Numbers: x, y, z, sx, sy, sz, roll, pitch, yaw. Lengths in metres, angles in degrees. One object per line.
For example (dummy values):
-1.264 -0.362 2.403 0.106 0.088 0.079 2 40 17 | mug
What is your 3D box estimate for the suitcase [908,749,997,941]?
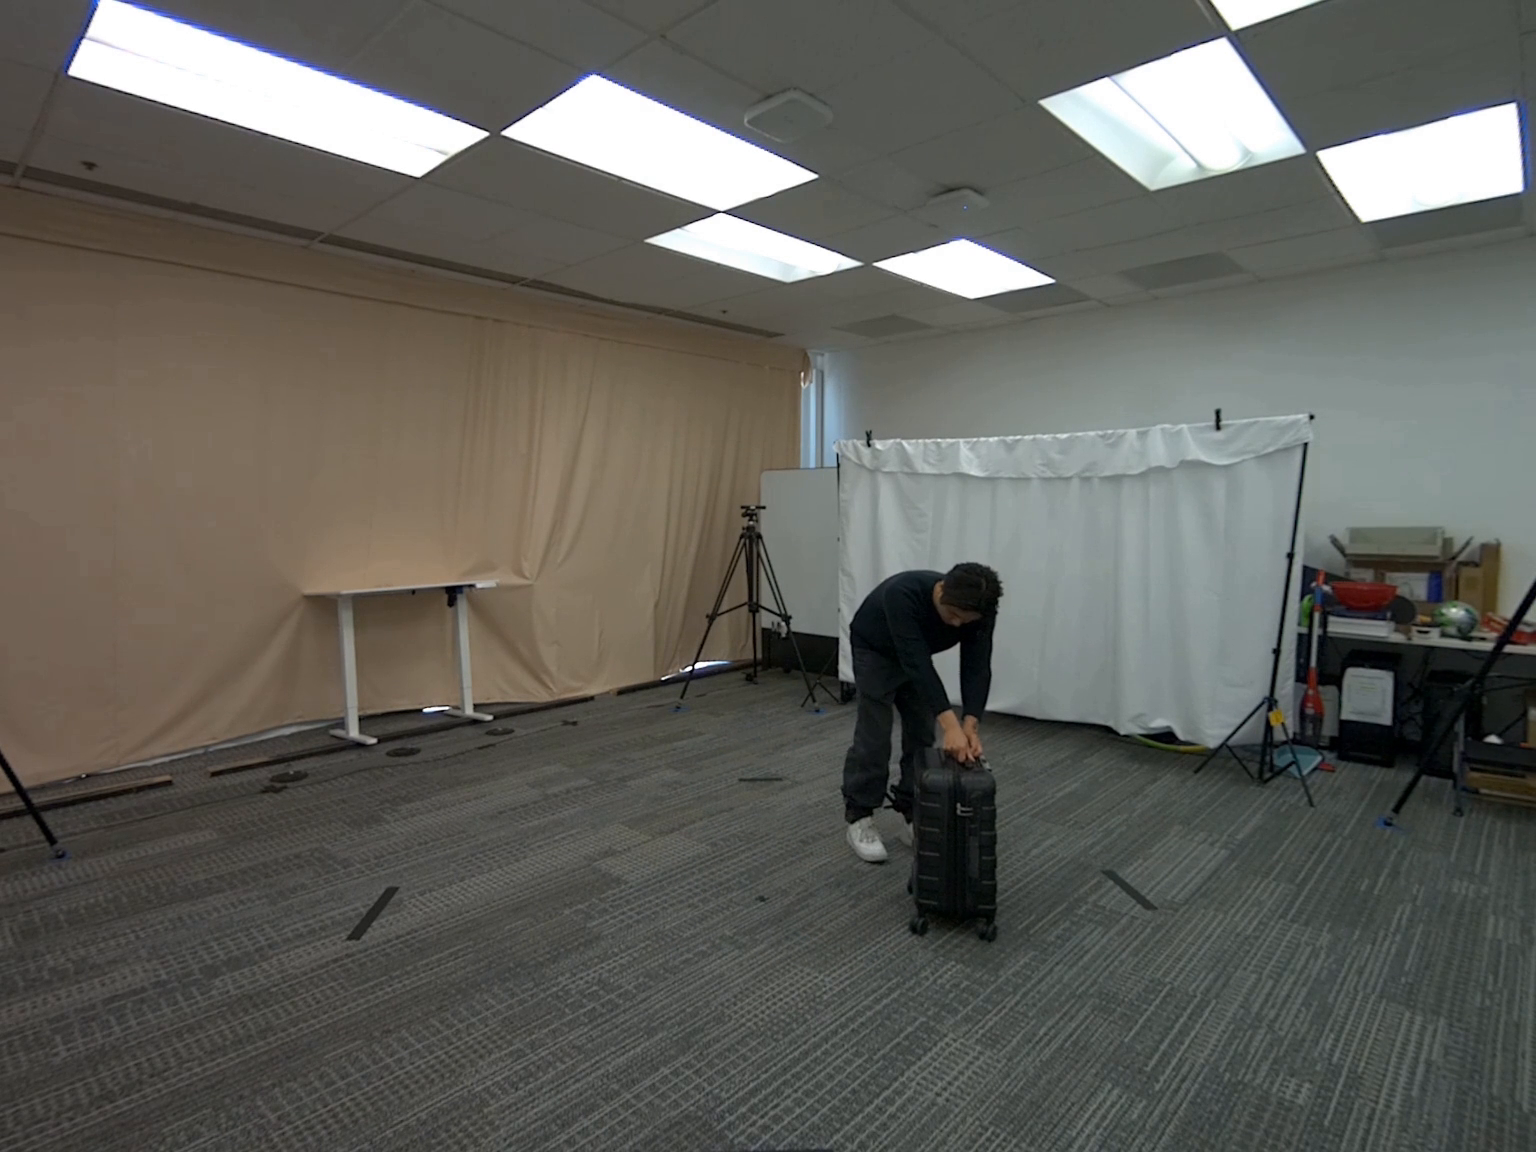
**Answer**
0.630 0.879 2.863 0.251 0.548 0.372 -1 3 8 | suitcase
